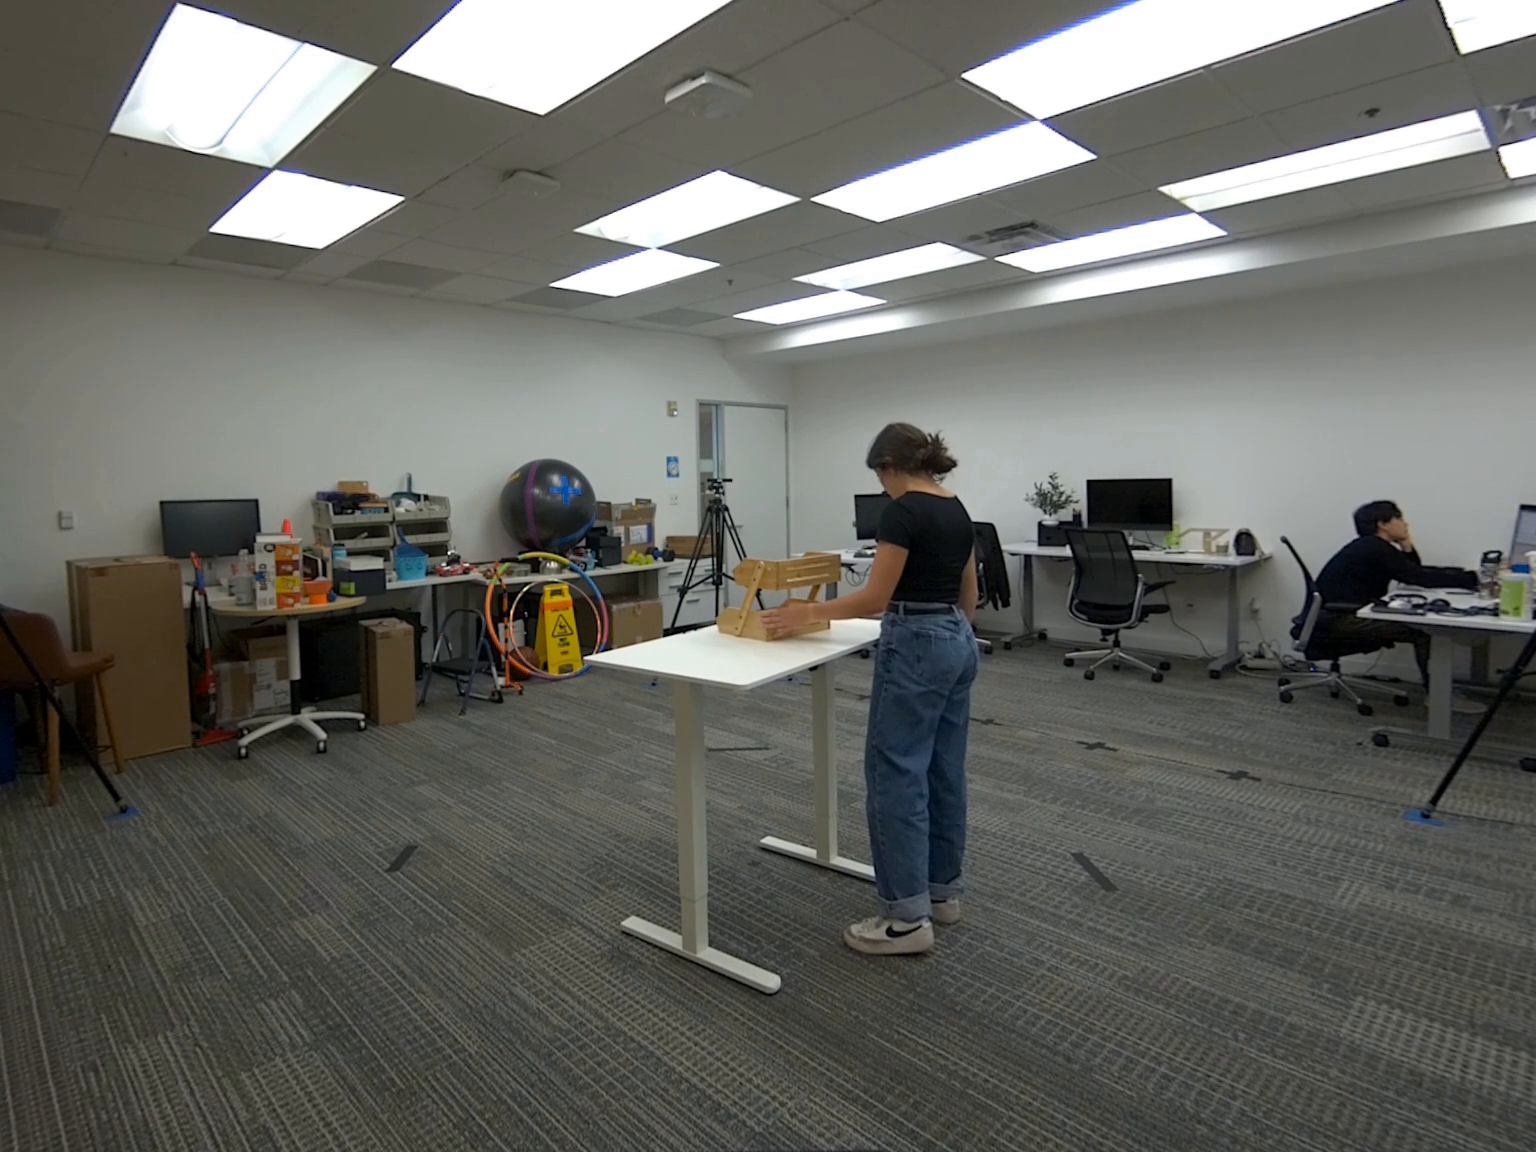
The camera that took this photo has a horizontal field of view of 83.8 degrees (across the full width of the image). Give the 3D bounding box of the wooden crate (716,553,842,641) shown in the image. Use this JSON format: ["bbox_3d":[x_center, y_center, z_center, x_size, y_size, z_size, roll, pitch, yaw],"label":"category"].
[{"bbox_3d":[0.035,0.054,2.864,0.316,0.272,0.311,-7,8,-42],"label":"wooden crate"}]
